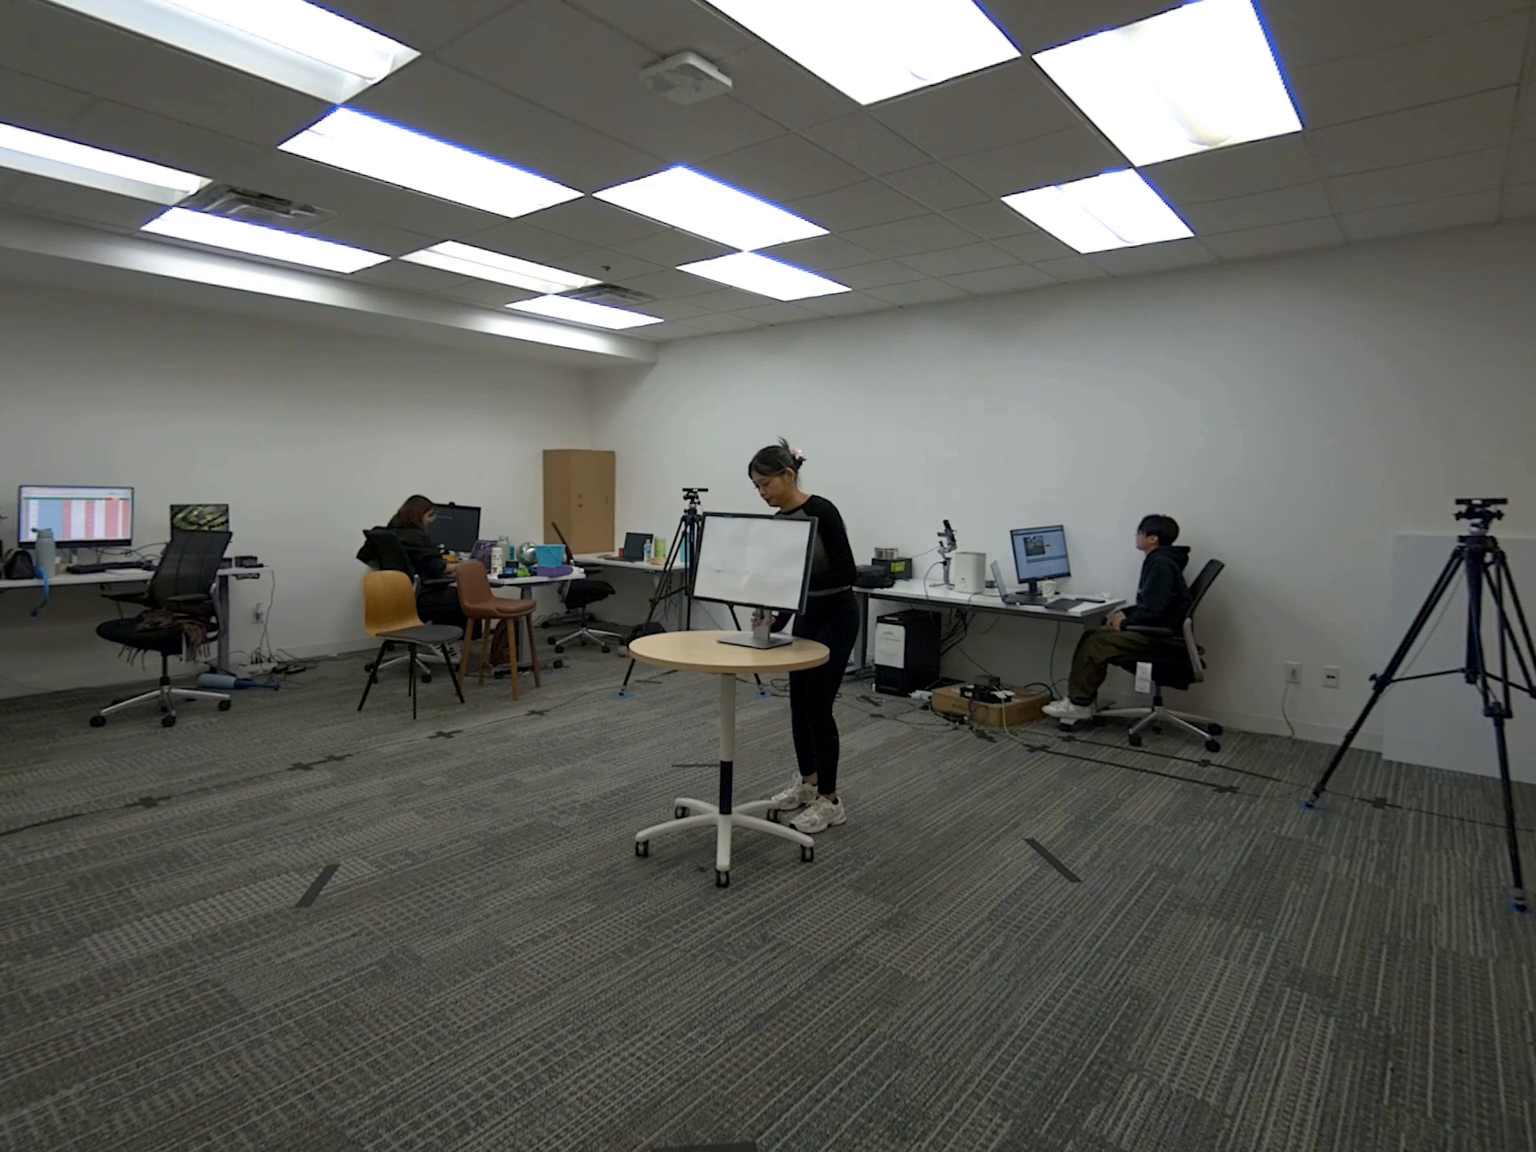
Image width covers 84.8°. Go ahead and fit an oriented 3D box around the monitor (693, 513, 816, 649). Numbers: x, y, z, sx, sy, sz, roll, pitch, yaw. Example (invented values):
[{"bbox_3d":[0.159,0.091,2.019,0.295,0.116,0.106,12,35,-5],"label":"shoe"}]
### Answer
[{"bbox_3d":[-0.054,0.015,3.345,0.557,0.520,0.182,4,6,37],"label":"monitor"}]
